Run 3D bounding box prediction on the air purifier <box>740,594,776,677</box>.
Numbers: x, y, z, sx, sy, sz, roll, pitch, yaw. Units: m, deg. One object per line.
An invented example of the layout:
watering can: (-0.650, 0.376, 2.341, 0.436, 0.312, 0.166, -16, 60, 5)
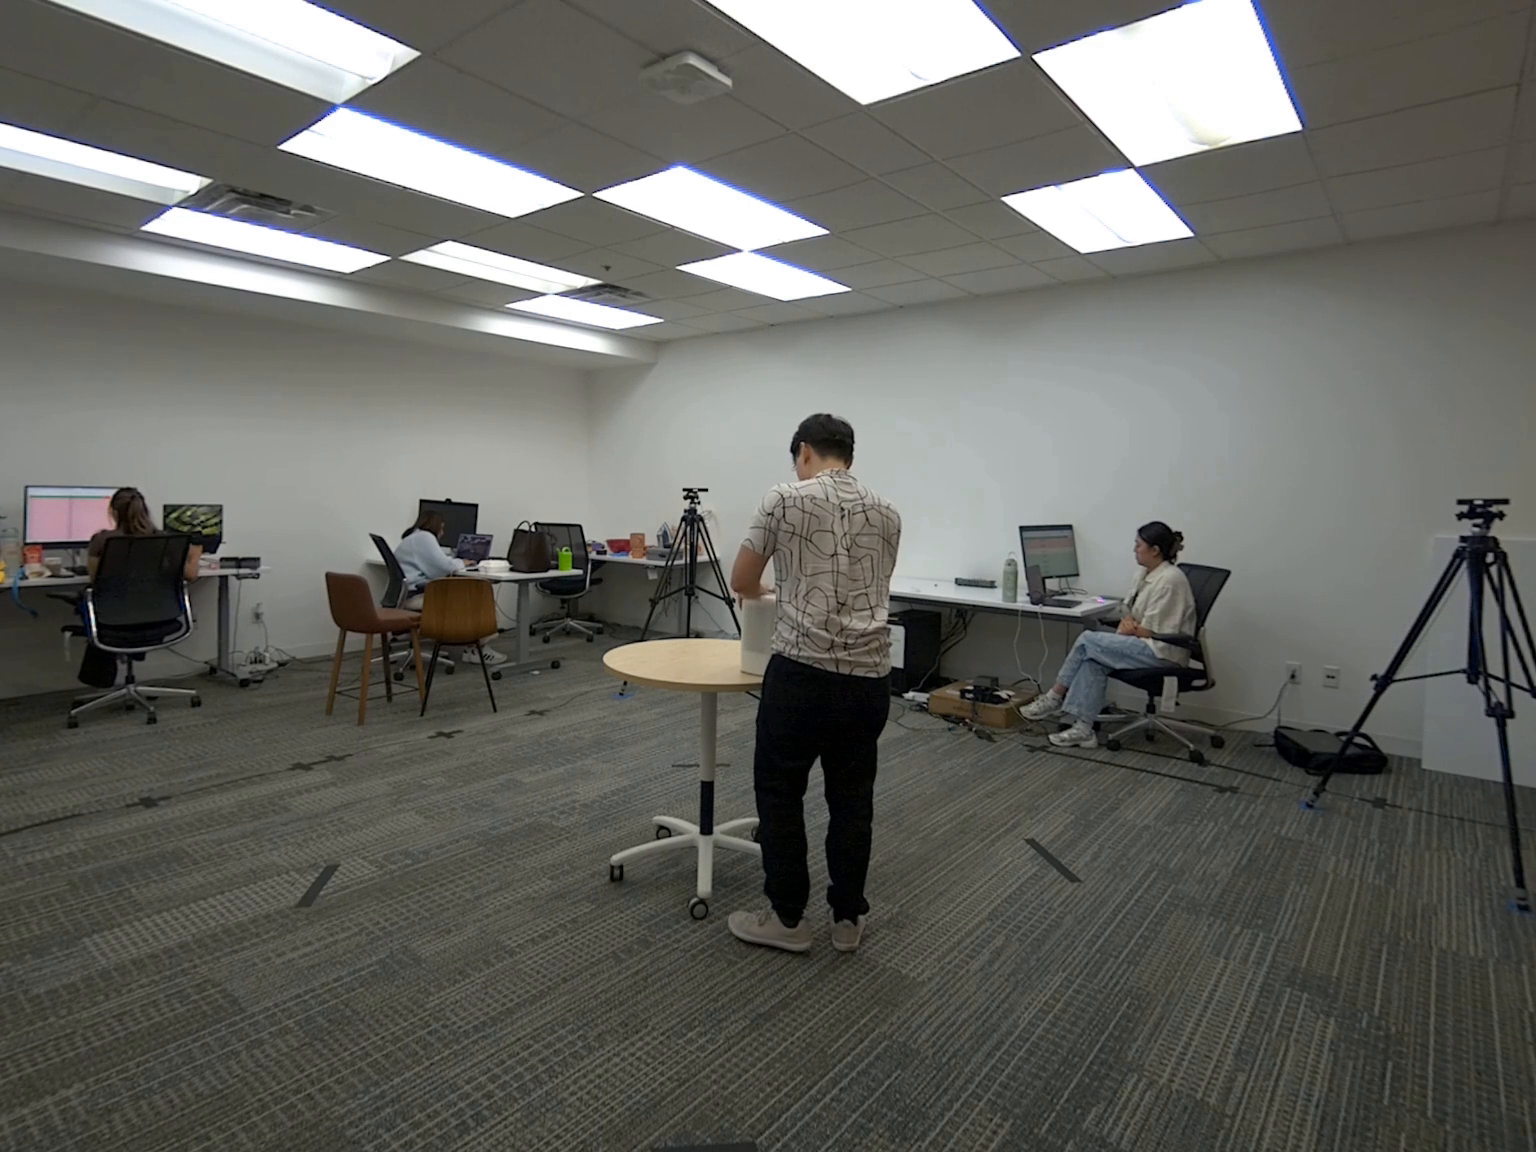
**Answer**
air purifier: (-0.001, 0.189, 2.873, 0.177, 0.264, 0.166, 6, 6, 38)
